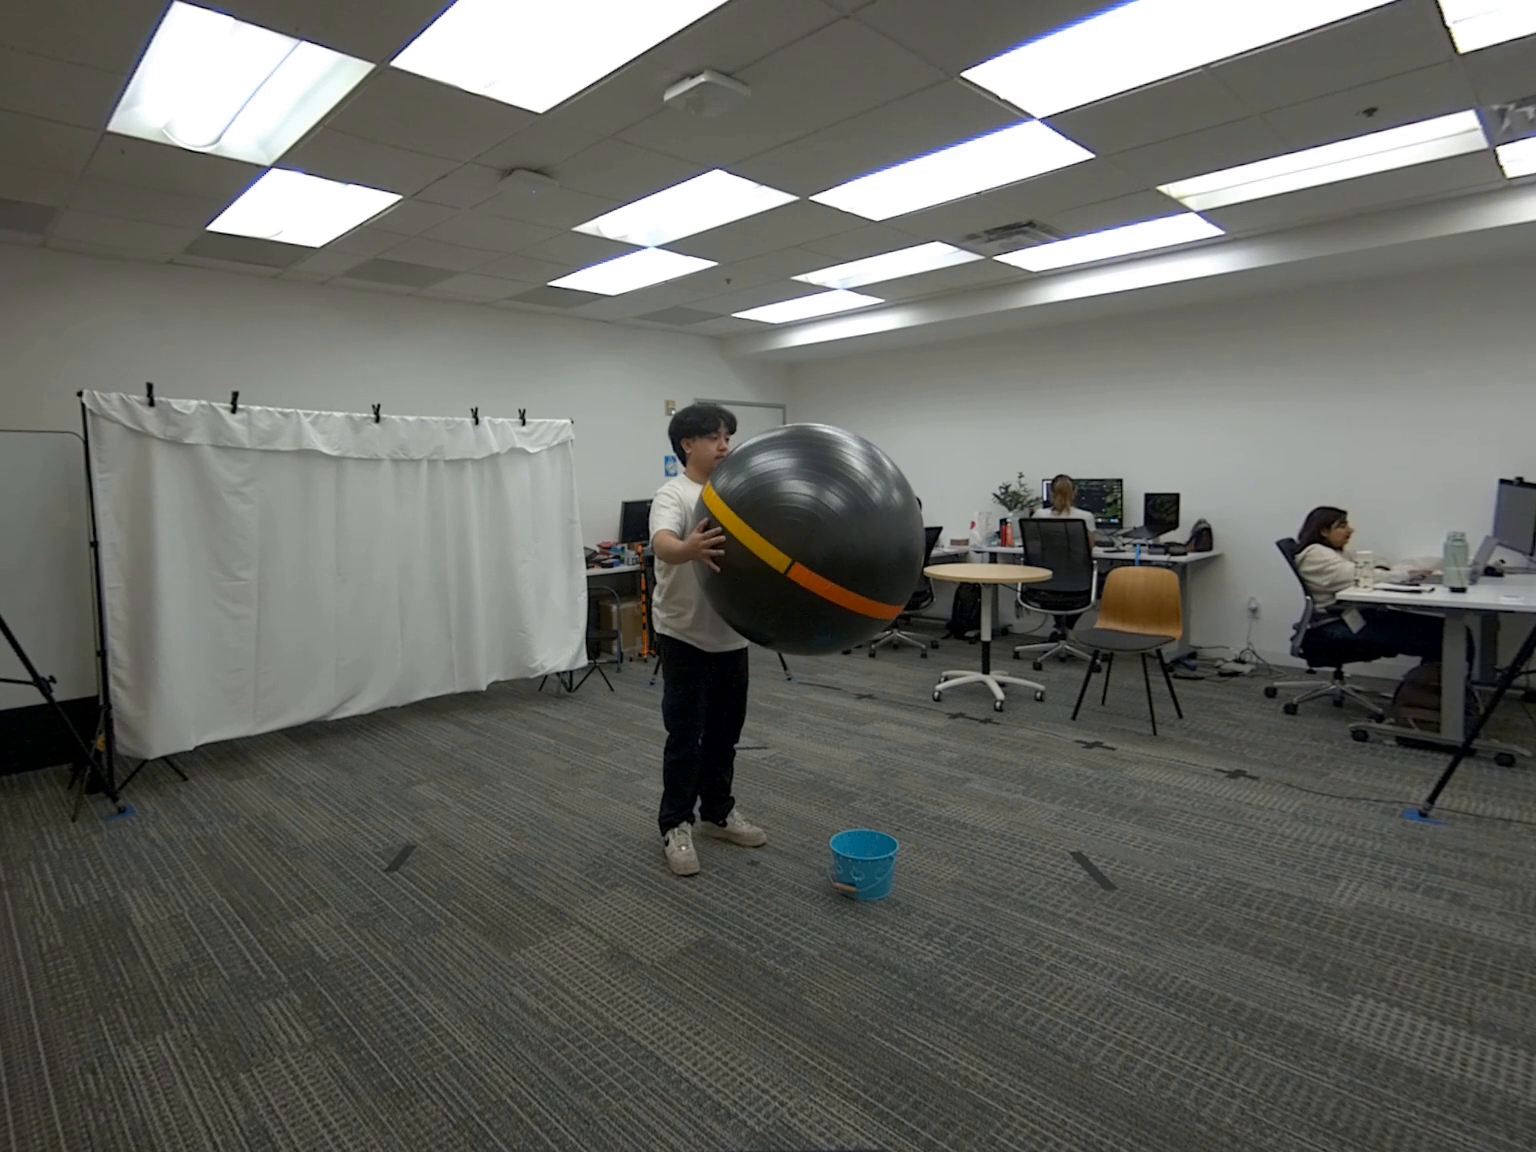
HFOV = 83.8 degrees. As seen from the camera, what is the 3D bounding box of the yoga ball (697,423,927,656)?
[{"bbox_3d":[0.127,-0.113,2.795,0.757,0.755,0.762,-1,5,-2],"label":"yoga ball"}]
